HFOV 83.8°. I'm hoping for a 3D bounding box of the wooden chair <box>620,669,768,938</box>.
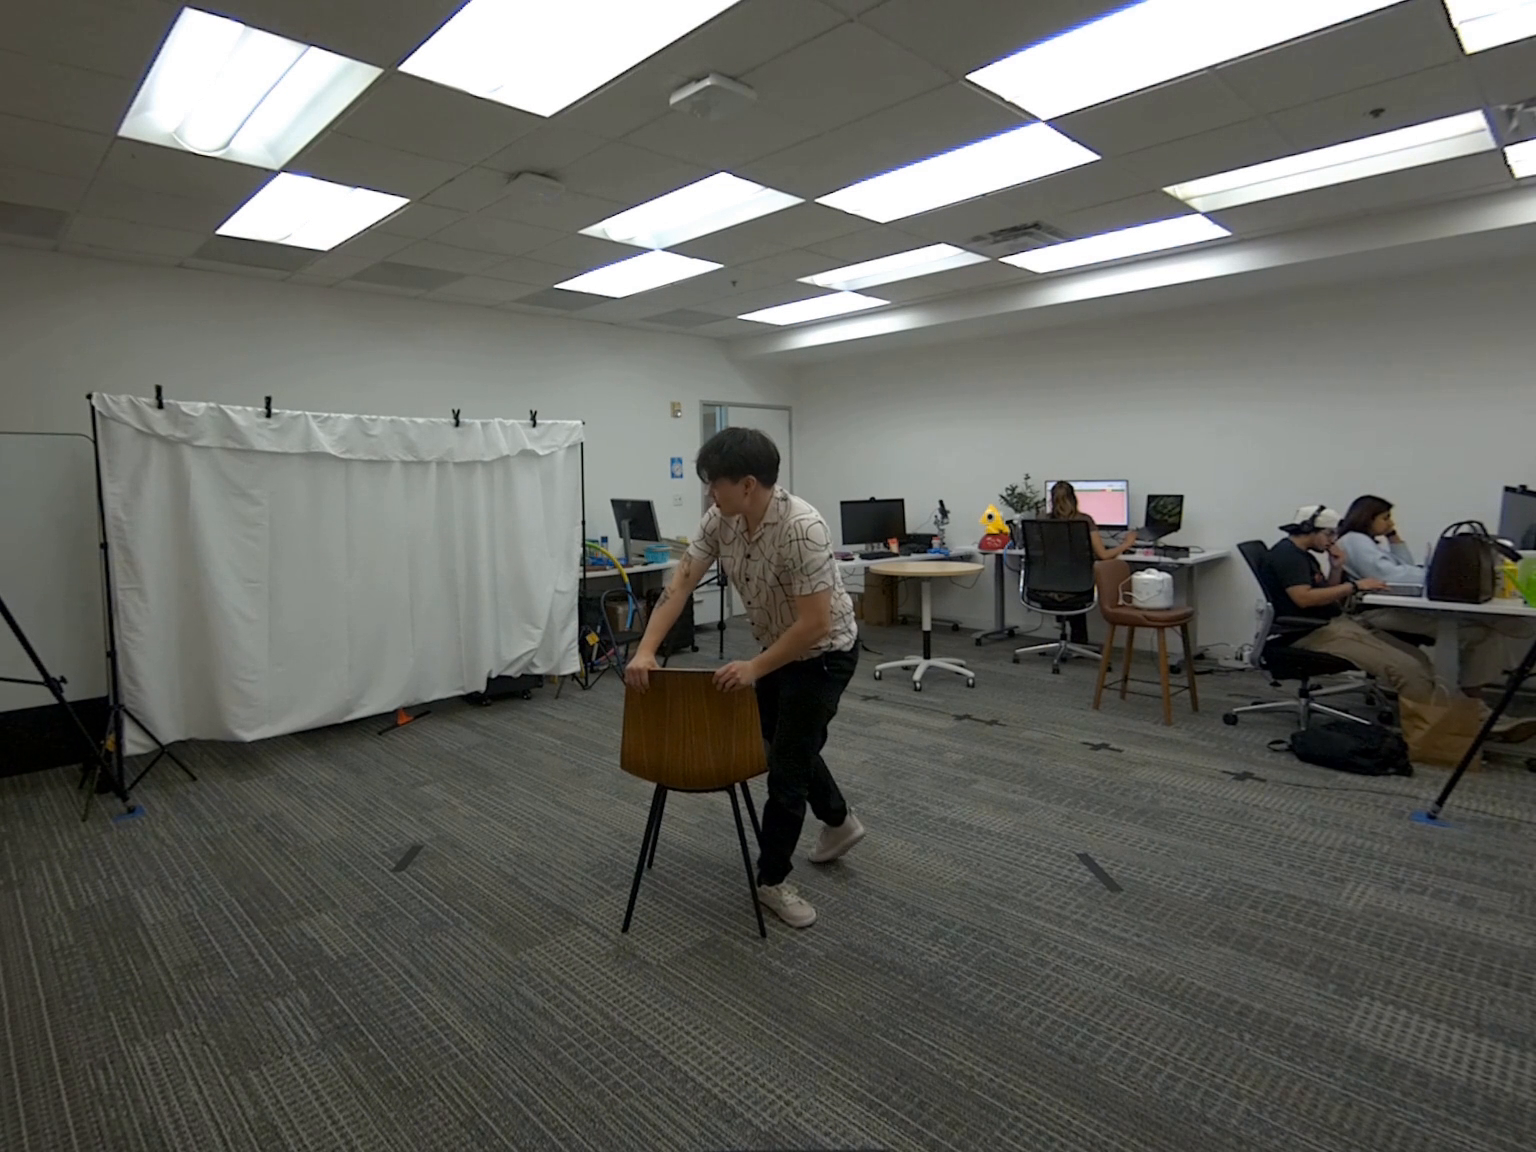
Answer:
[{"bbox_3d":[-0.225,0.654,2.823,0.480,0.871,0.525,-1,8,3],"label":"wooden chair"}]
